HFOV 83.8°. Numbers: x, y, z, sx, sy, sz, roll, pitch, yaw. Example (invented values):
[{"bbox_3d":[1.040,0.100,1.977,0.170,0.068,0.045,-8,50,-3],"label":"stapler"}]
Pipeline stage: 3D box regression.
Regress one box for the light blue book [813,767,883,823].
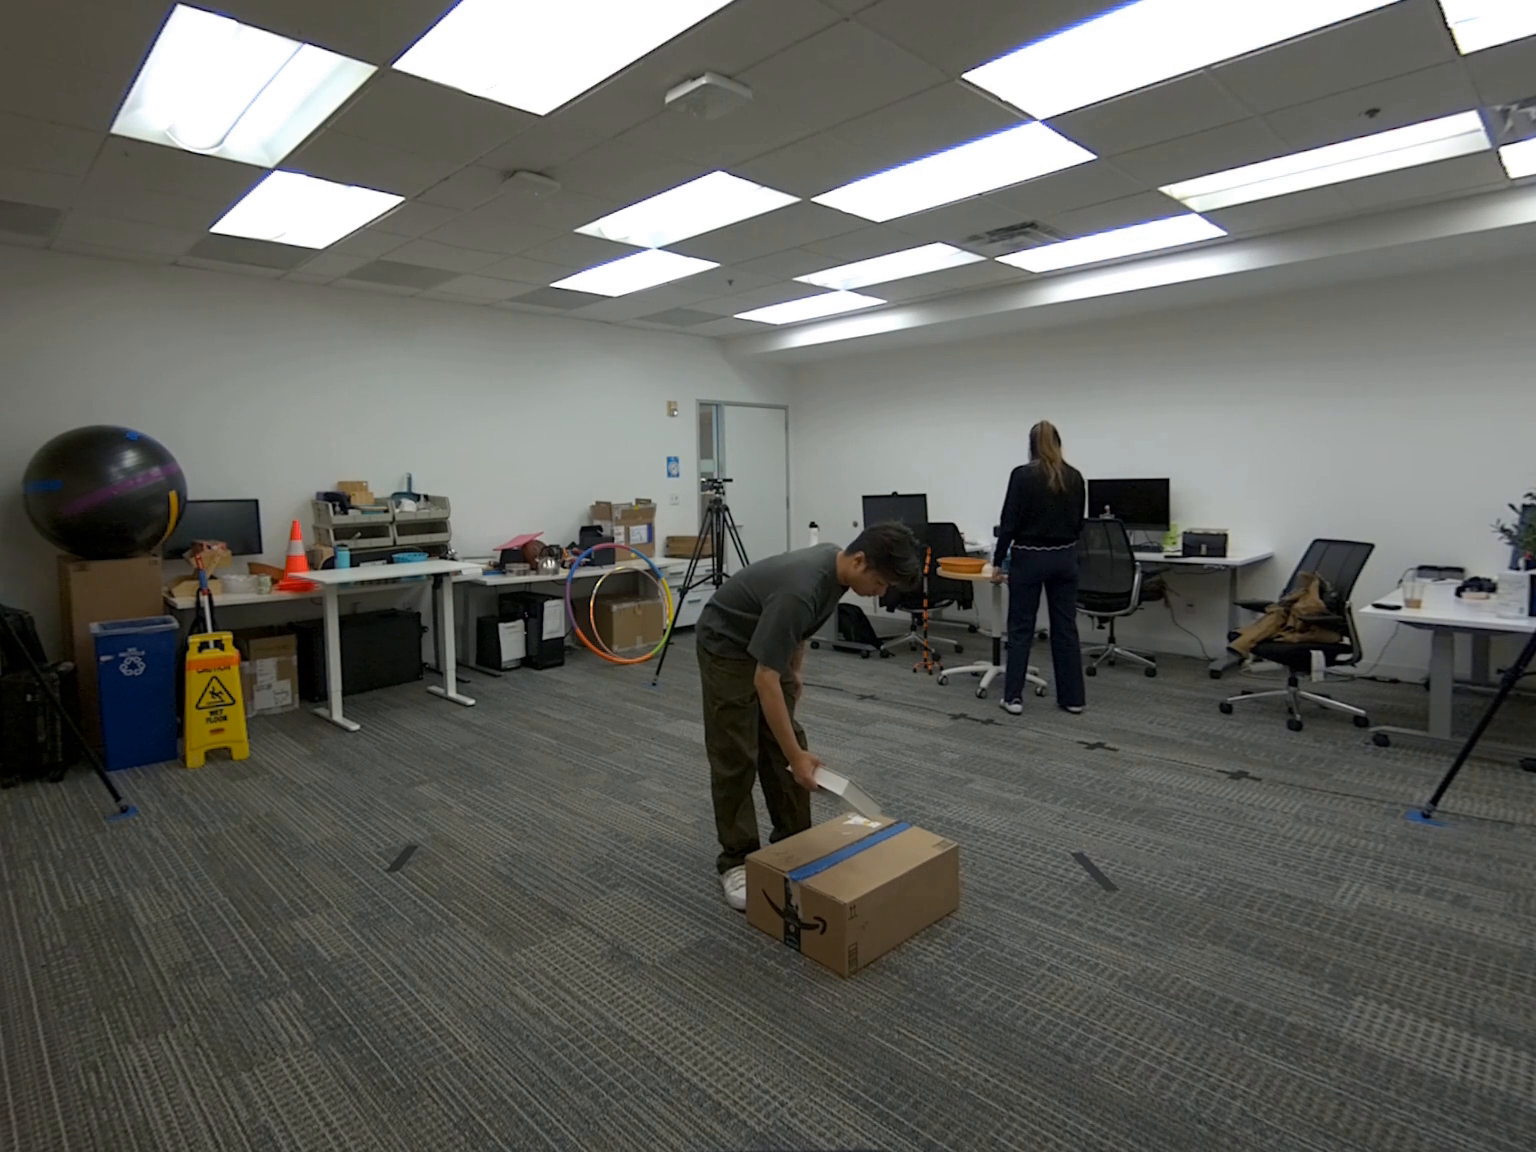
[{"bbox_3d":[0.206,0.660,2.670,0.185,0.059,0.269,43,-18,-31],"label":"light blue book"}]
